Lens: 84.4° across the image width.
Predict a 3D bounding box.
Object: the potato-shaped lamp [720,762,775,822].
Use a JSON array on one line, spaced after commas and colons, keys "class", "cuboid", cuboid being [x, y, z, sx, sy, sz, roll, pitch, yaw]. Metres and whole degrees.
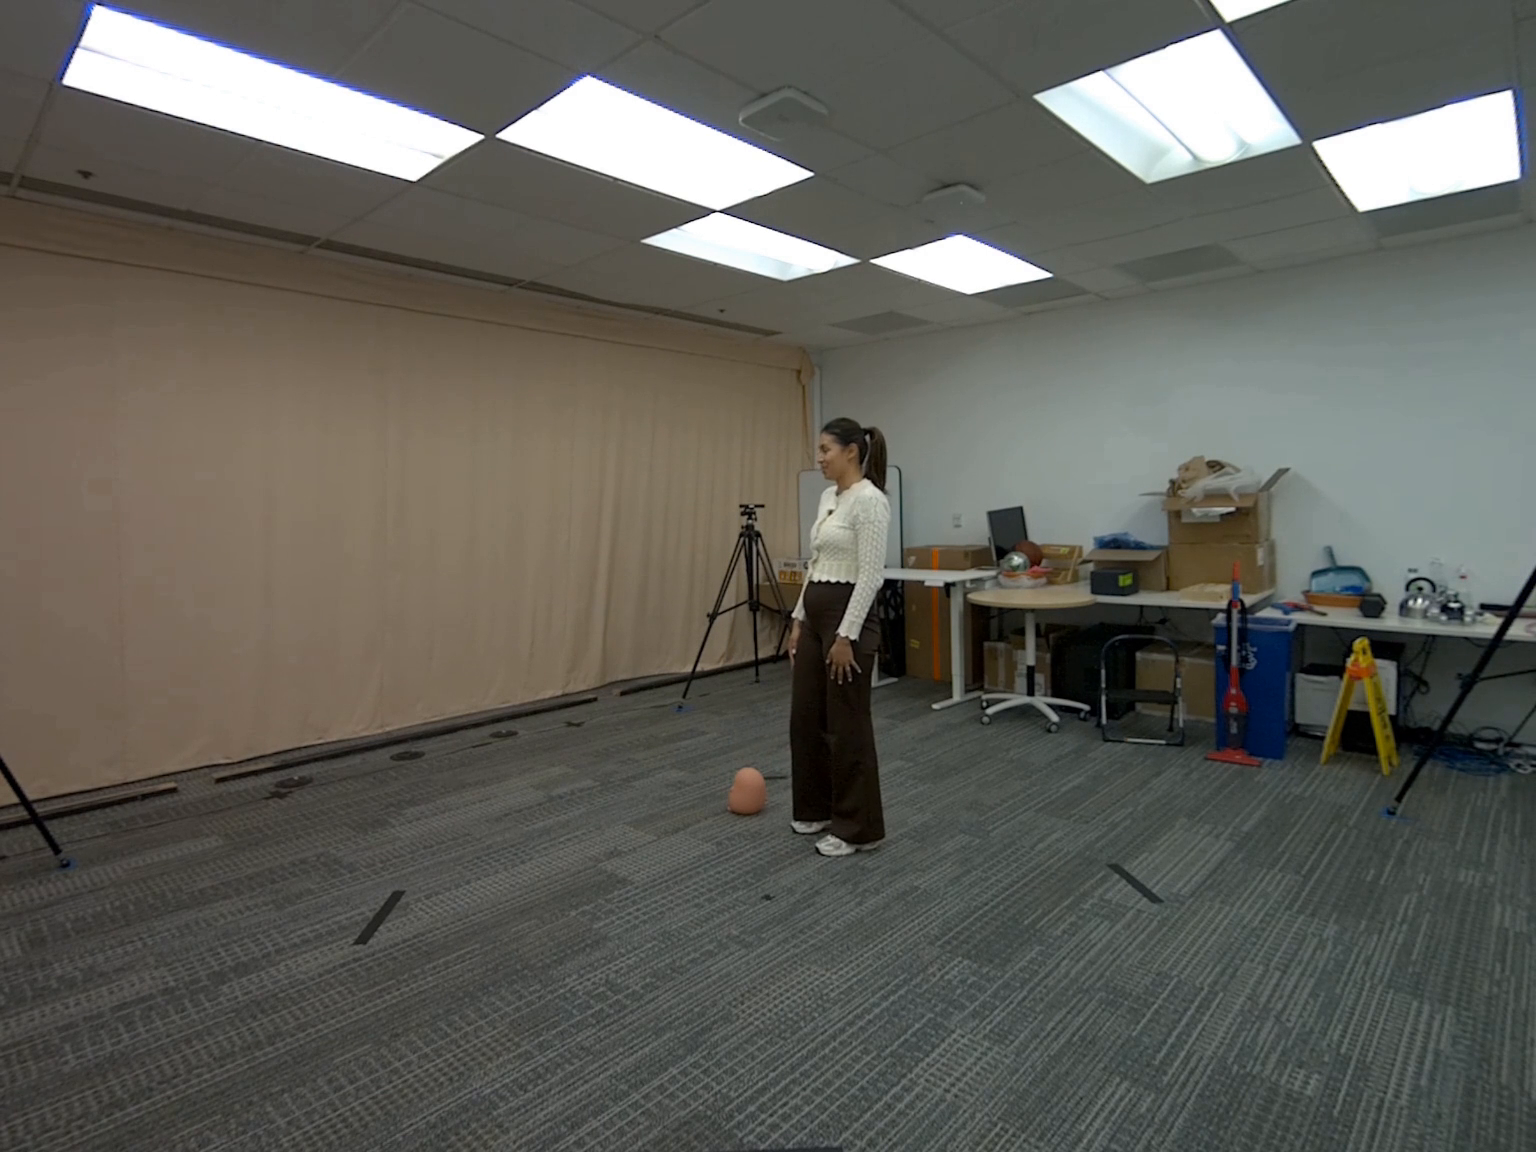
[{"class": "potato-shaped lamp", "cuboid": [-0.093, 0.969, 3.824, 0.176, 0.198, 0.160, -2, 3, 34]}]
